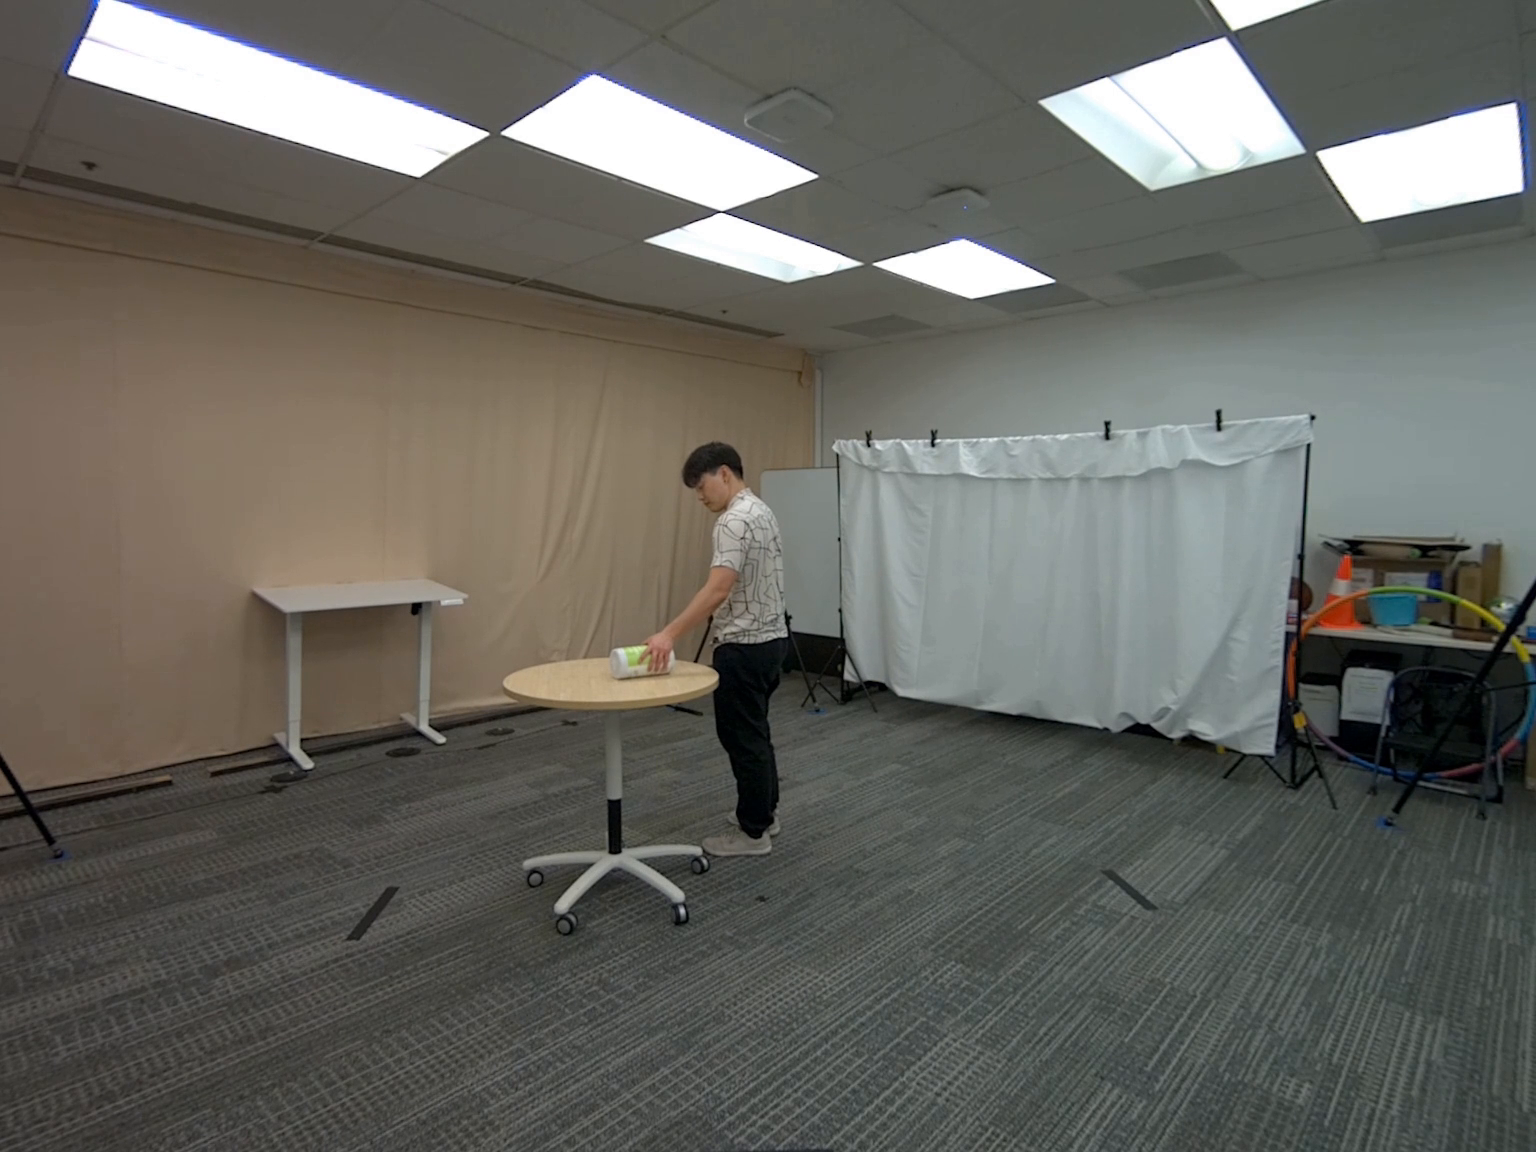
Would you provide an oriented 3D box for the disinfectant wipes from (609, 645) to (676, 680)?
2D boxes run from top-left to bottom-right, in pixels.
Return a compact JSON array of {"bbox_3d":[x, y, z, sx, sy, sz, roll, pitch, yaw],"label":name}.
[{"bbox_3d":[-0.449,0.305,3.034,0.211,0.117,0.121,-2,4,-30],"label":"disinfectant wipes"}]
